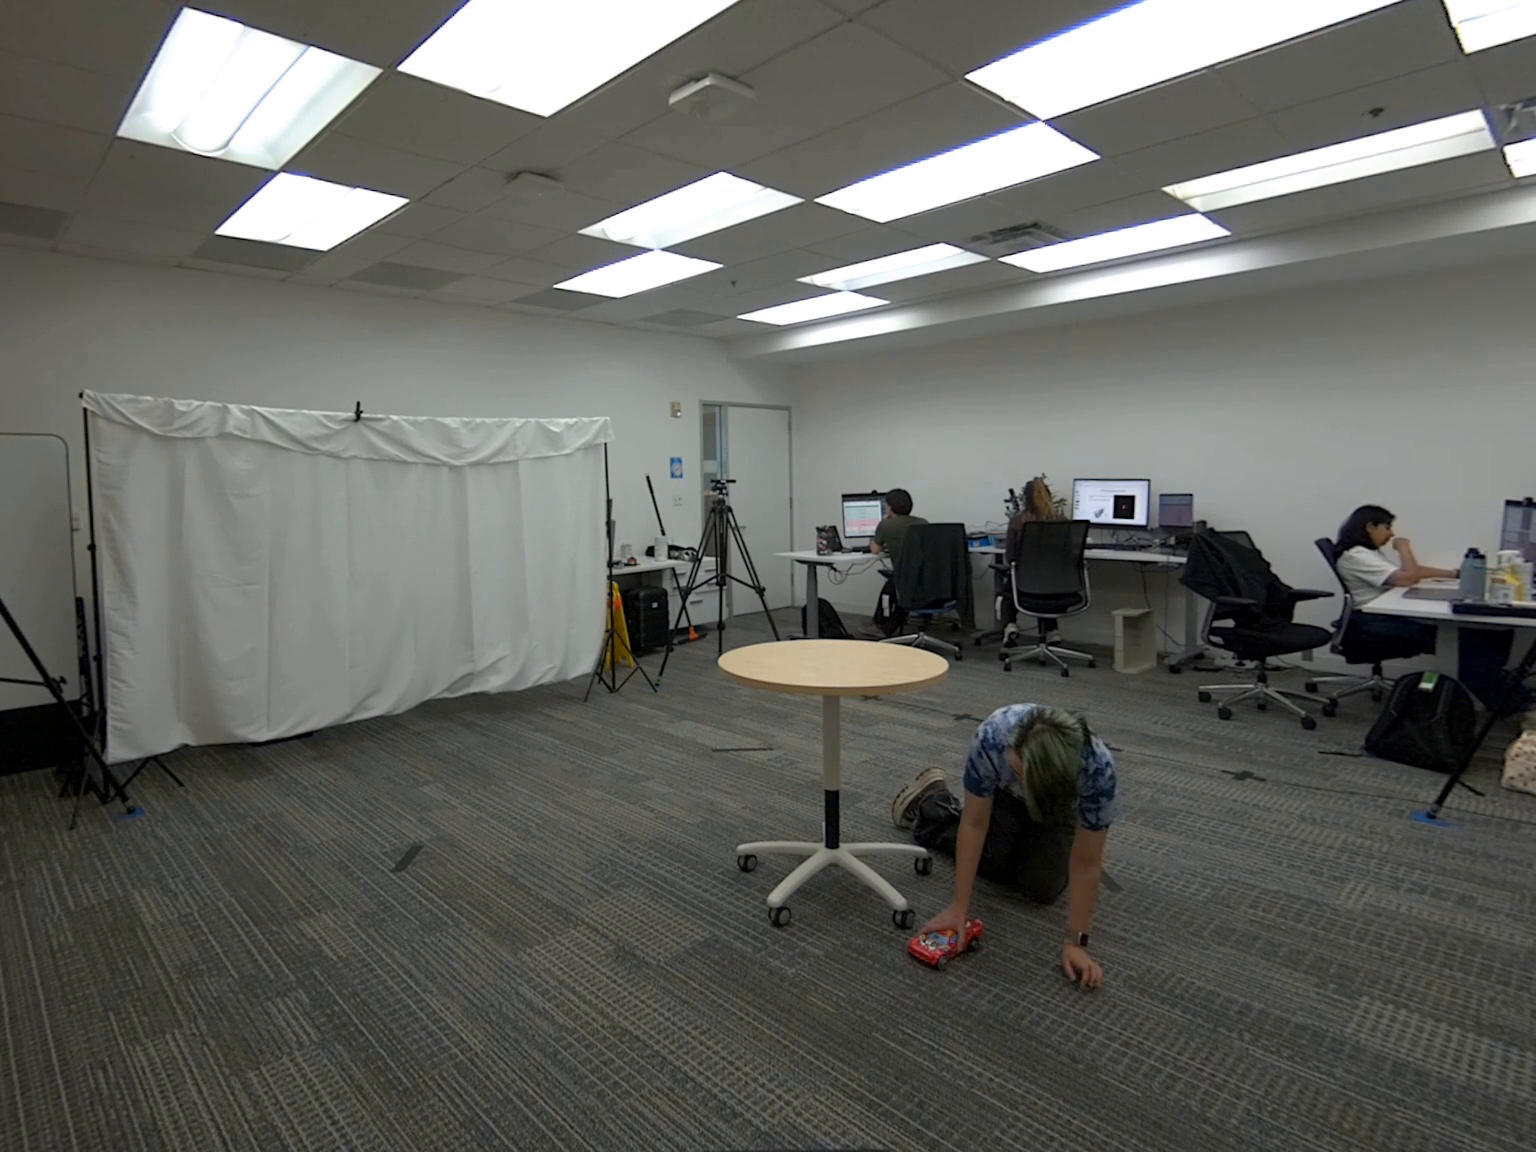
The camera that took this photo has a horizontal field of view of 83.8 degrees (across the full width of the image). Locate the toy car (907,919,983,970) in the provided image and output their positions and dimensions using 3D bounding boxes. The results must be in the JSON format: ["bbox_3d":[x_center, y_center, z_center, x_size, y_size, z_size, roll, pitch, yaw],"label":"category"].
[{"bbox_3d":[0.541,1.079,2.511,0.250,0.082,0.134,-17,15,-36],"label":"toy car"}]
